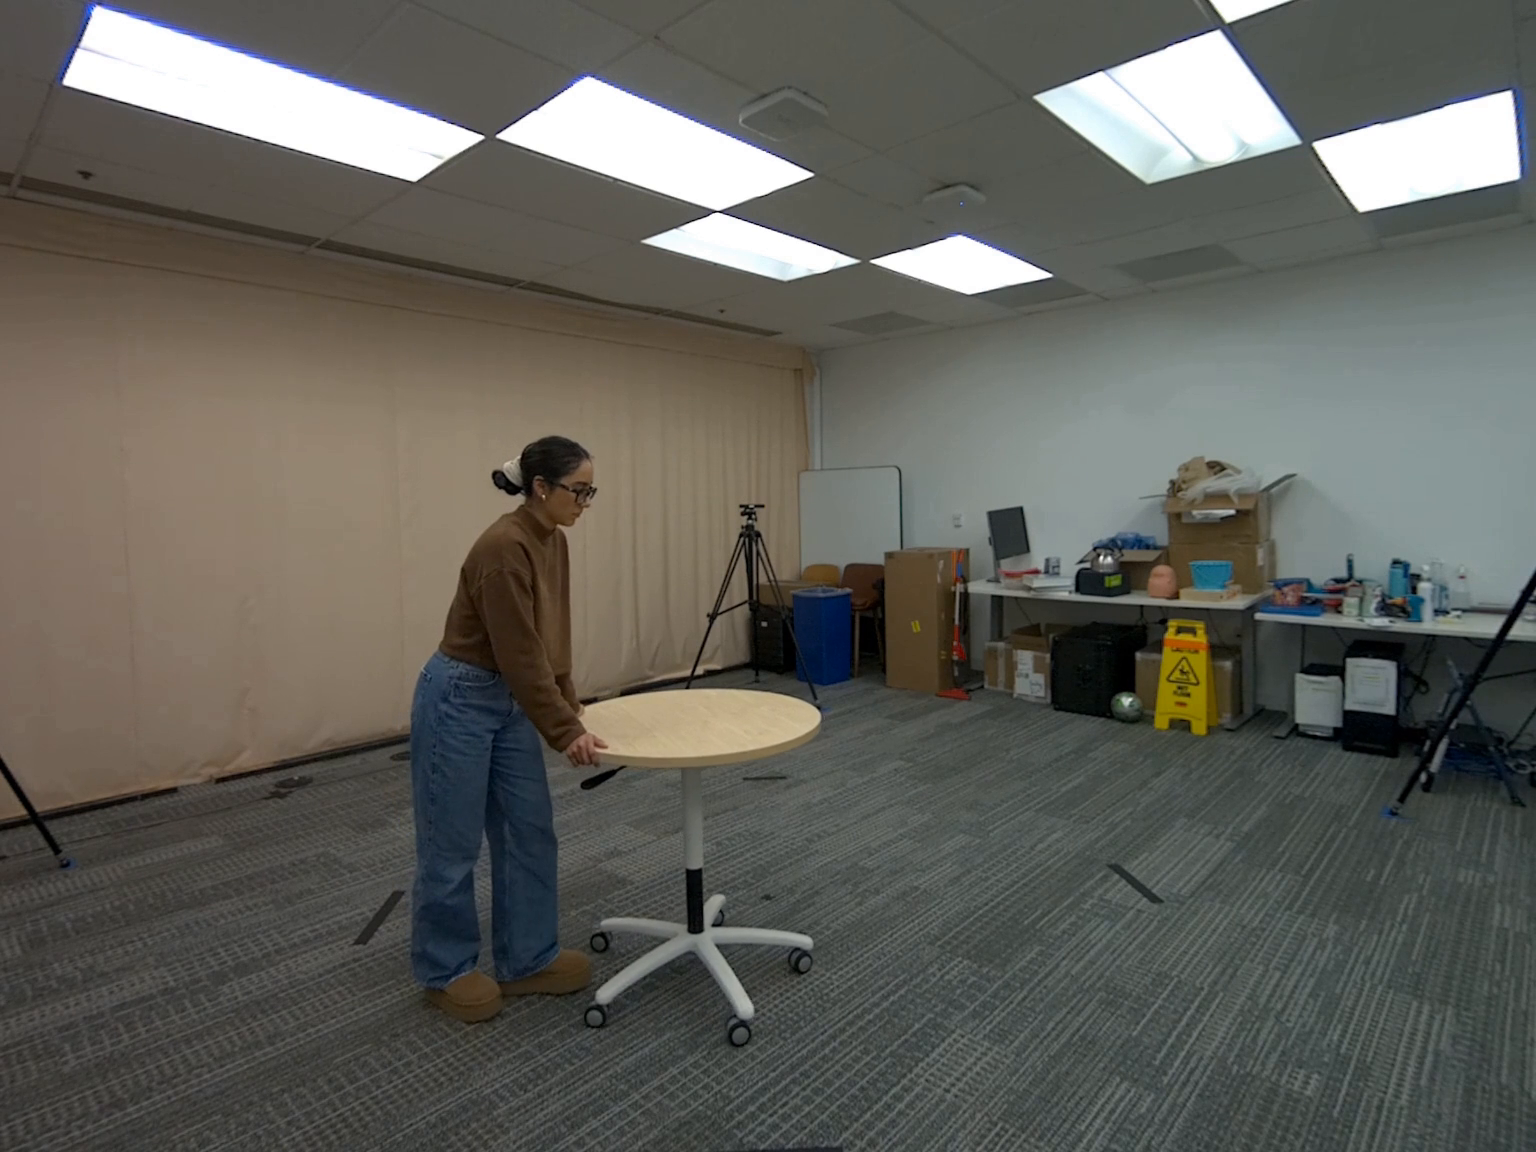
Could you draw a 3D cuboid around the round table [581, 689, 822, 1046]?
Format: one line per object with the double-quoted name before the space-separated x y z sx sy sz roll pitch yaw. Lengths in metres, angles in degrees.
"round table" -0.223 0.803 2.470 0.763 0.792 0.766 -2 4 -2
